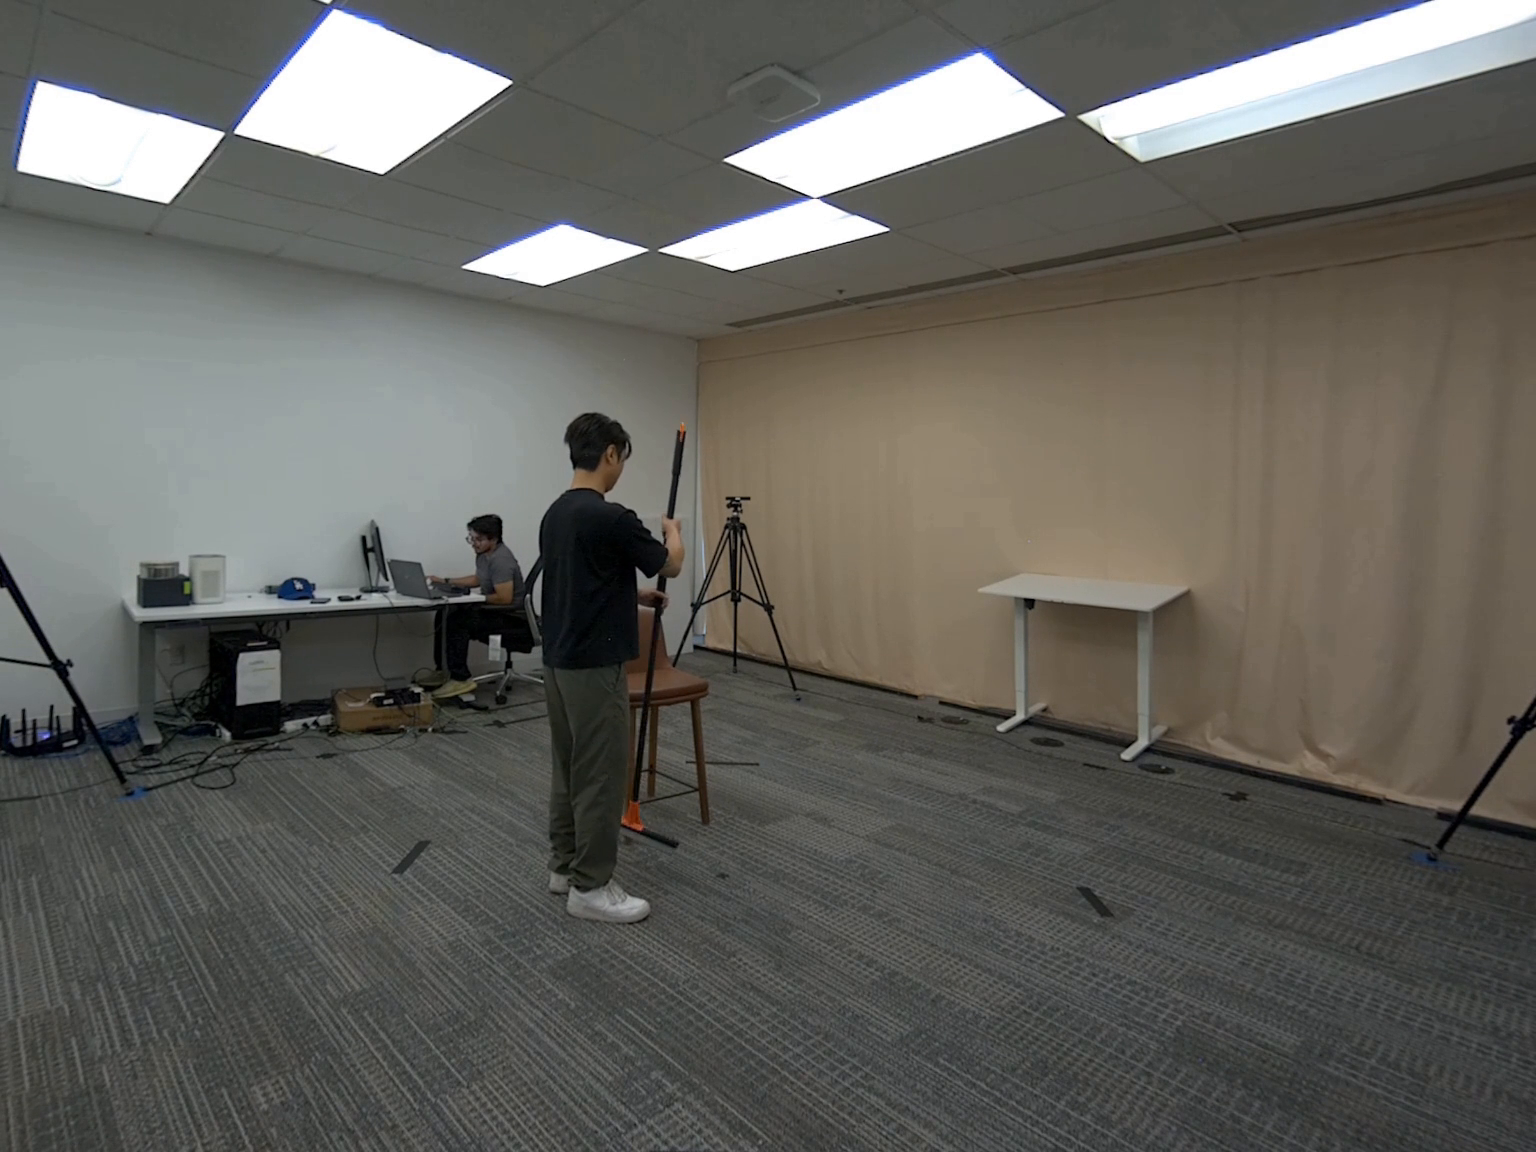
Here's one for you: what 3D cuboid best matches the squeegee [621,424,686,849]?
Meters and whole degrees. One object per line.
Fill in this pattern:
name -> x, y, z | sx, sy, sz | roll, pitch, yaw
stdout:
squeegee -> -0.423, 0.211, 3.117 | 0.448, 1.537, 0.052 | 8, 1, 33
